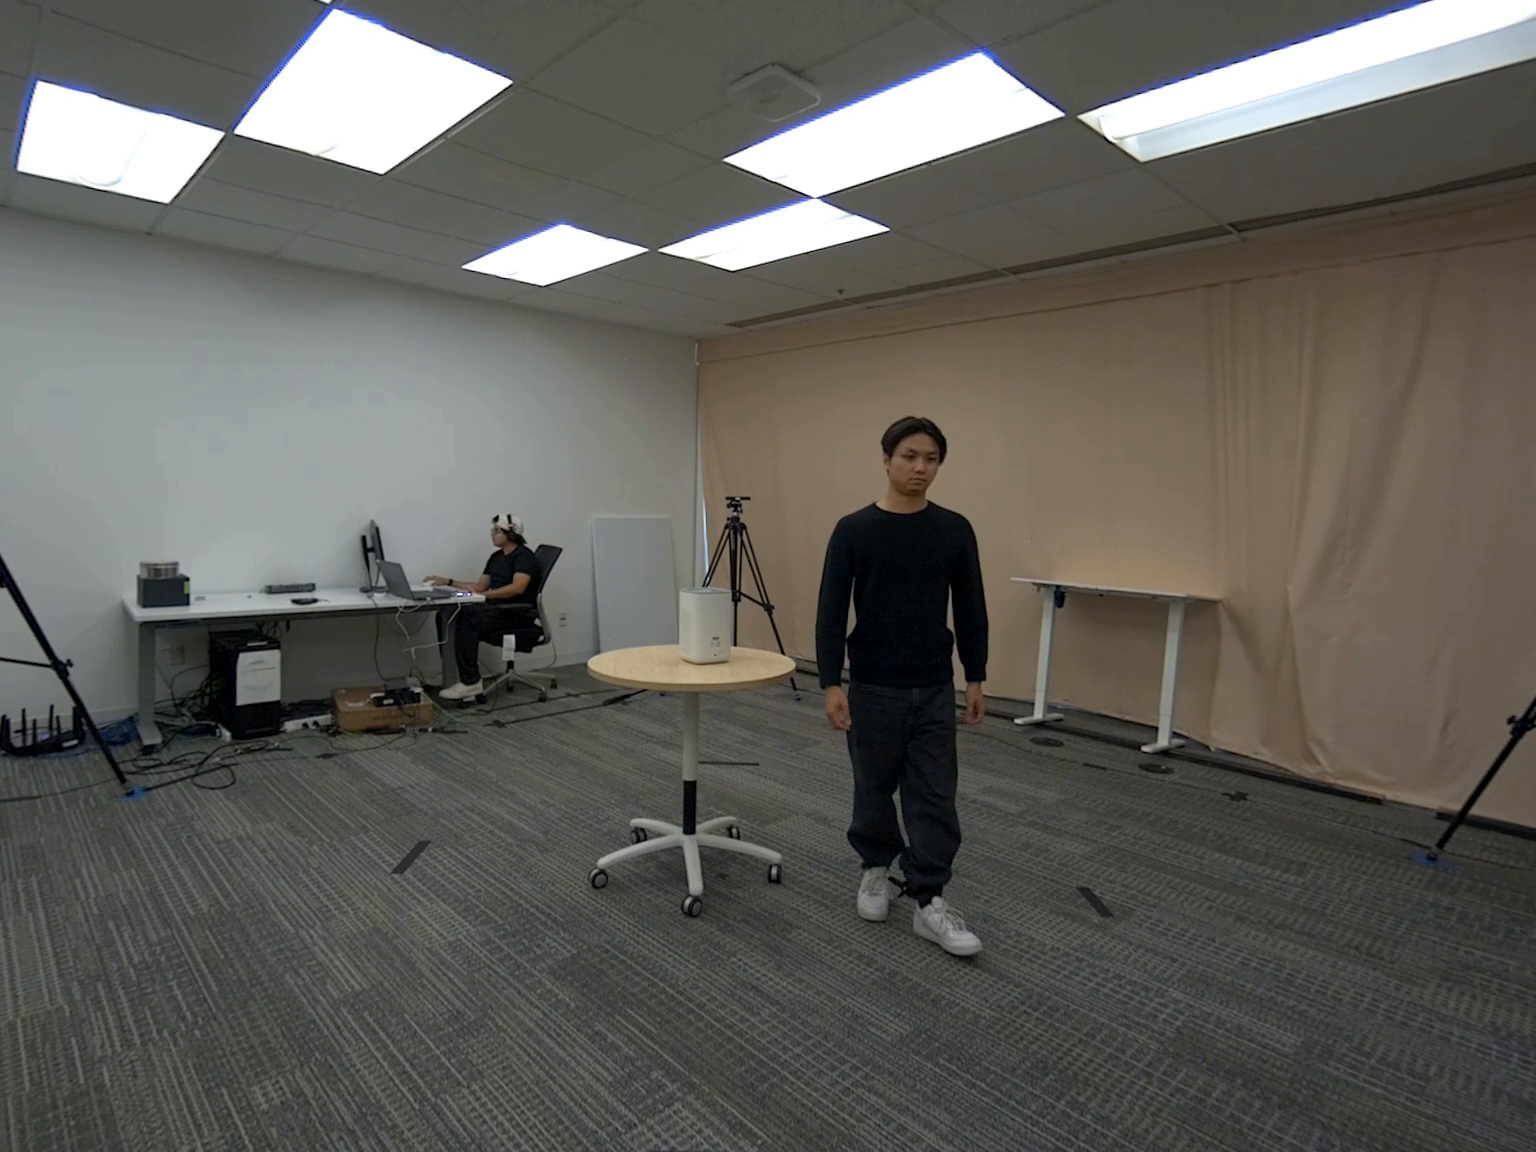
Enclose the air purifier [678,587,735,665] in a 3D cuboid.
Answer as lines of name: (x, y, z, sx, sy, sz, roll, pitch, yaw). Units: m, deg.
air purifier: (-0.240, 0.181, 3.137, 0.167, 0.265, 0.175, -1, 2, -32)
